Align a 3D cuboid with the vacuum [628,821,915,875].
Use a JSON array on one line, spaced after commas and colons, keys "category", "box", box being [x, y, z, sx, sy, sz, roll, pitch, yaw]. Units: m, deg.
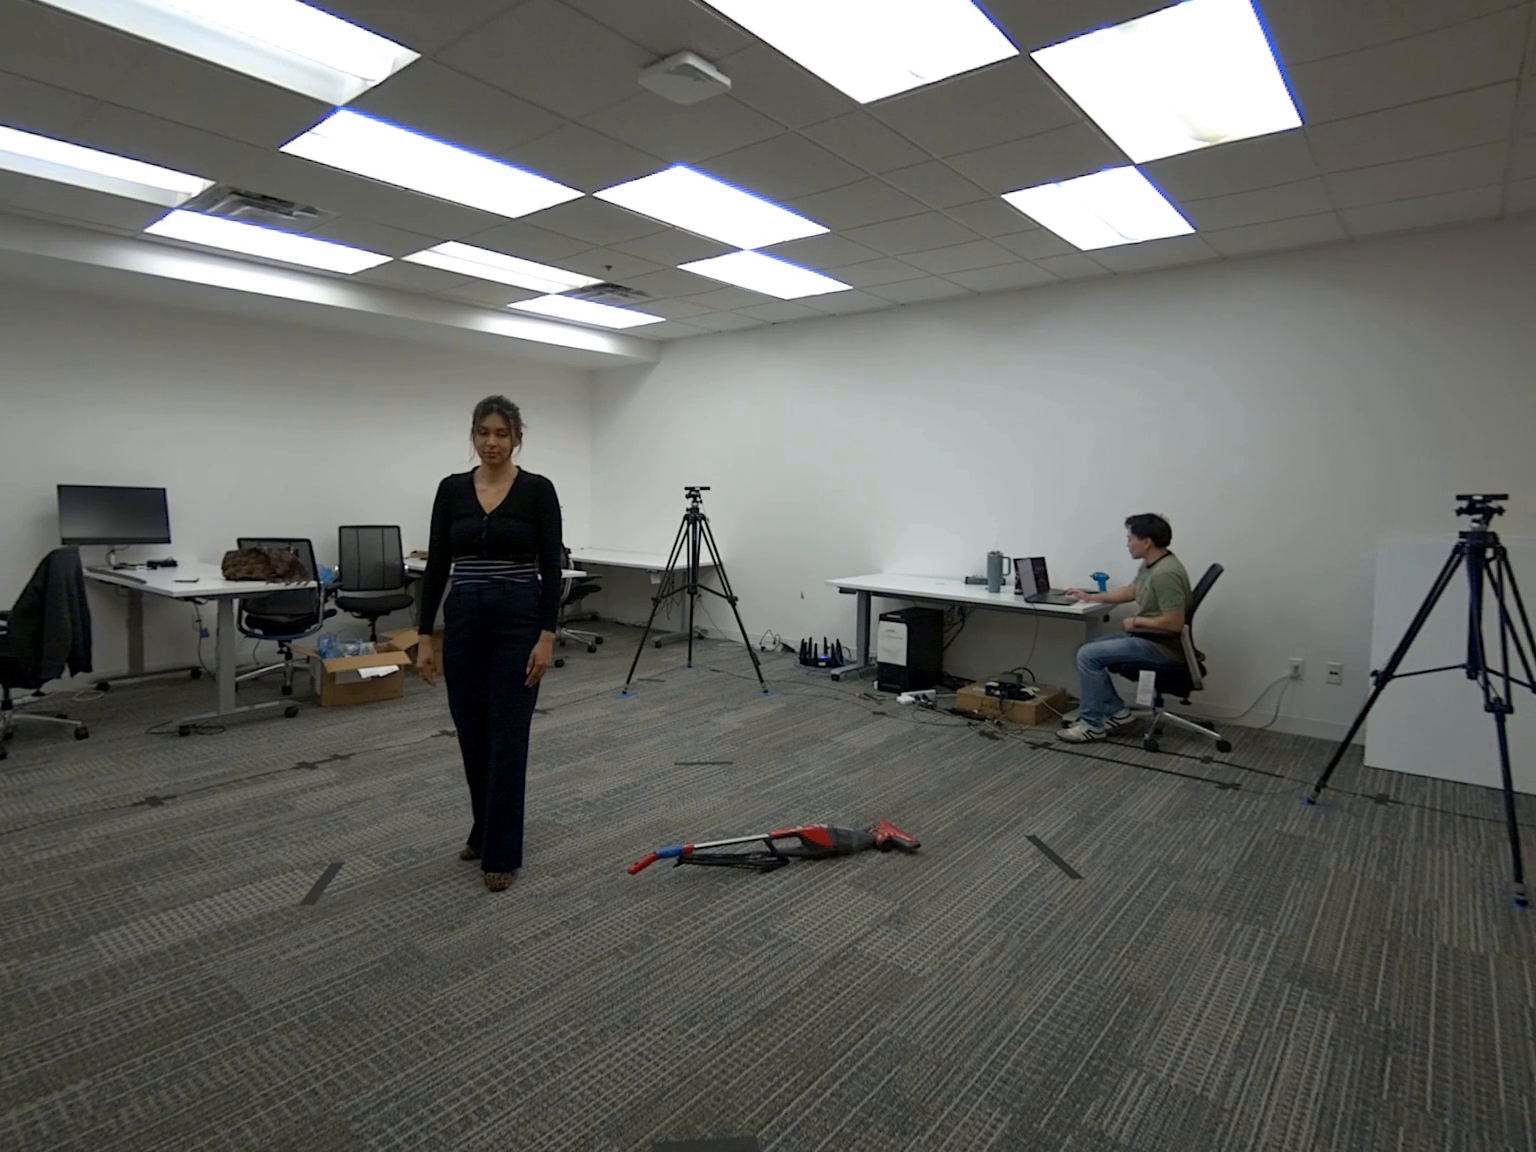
[{"category": "vacuum", "box": [0.002, 1.009, 3.147, 1.026, 0.144, 0.258, 0, 0, -23]}]
